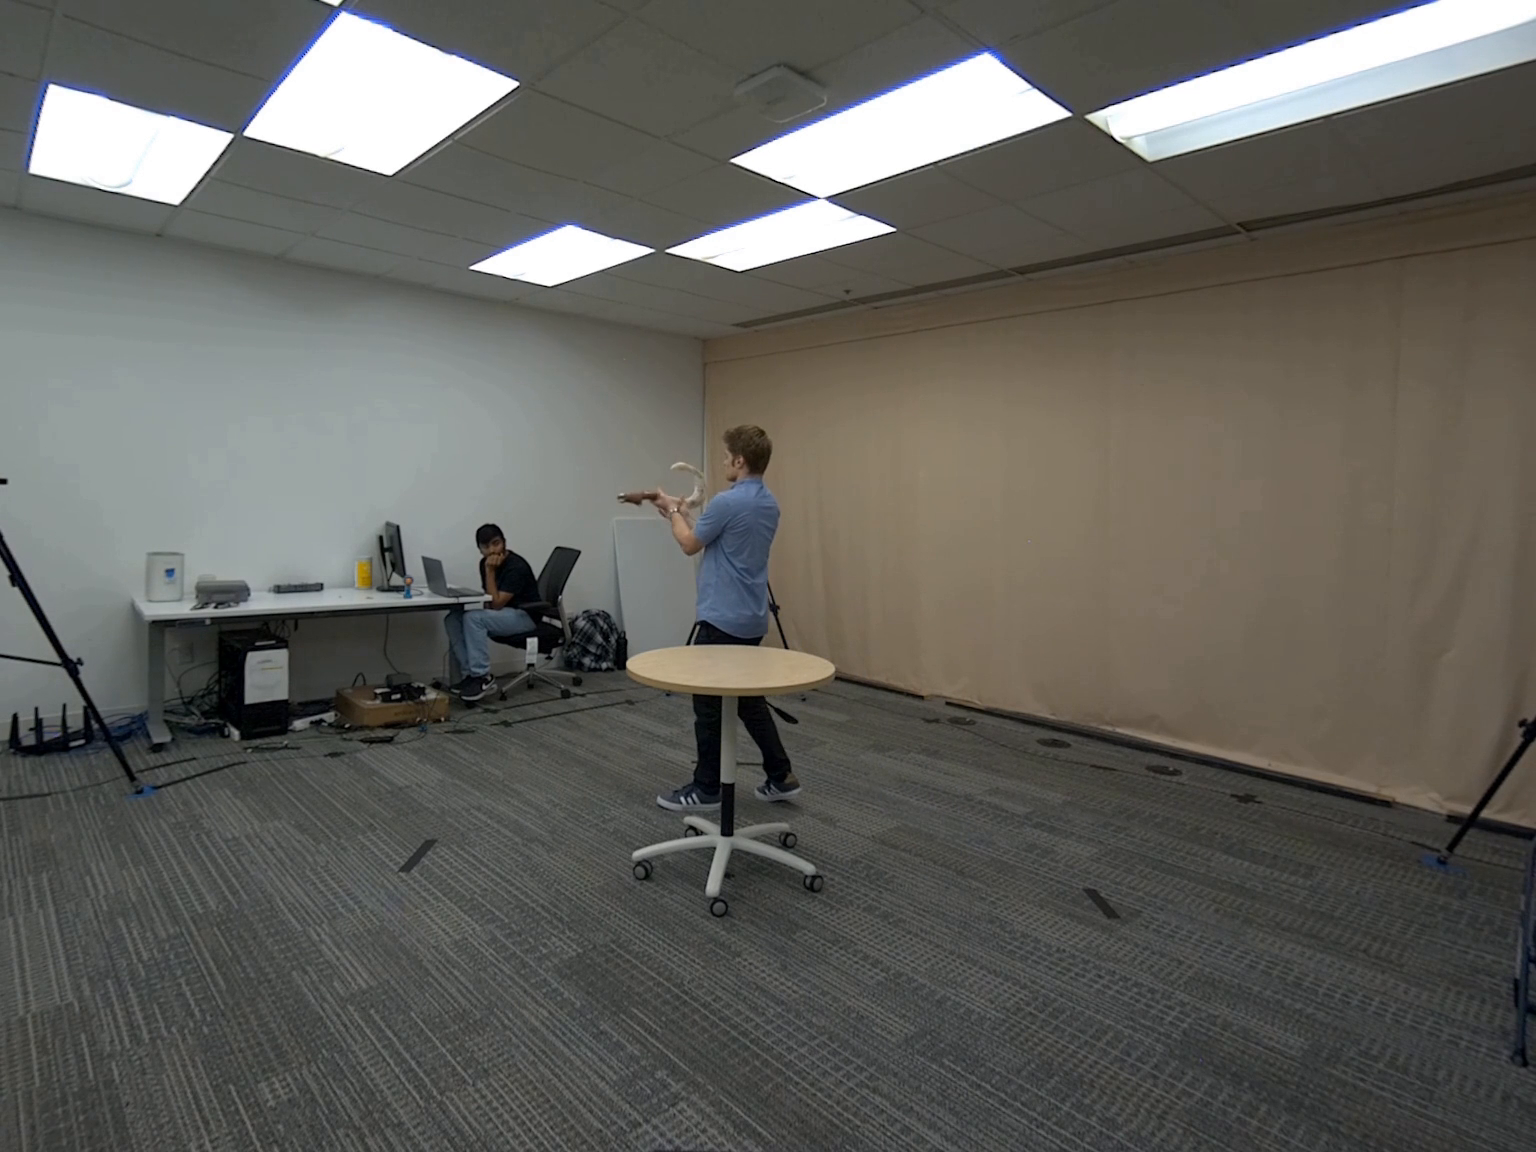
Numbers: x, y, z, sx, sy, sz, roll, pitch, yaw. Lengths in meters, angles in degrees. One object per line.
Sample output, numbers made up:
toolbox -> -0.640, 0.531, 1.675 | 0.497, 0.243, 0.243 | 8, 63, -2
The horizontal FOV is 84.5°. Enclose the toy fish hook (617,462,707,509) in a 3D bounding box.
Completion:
toy fish hook -> -0.504, -0.427, 3.983 | 0.496, 0.226, 0.049 | -5, -7, -40
